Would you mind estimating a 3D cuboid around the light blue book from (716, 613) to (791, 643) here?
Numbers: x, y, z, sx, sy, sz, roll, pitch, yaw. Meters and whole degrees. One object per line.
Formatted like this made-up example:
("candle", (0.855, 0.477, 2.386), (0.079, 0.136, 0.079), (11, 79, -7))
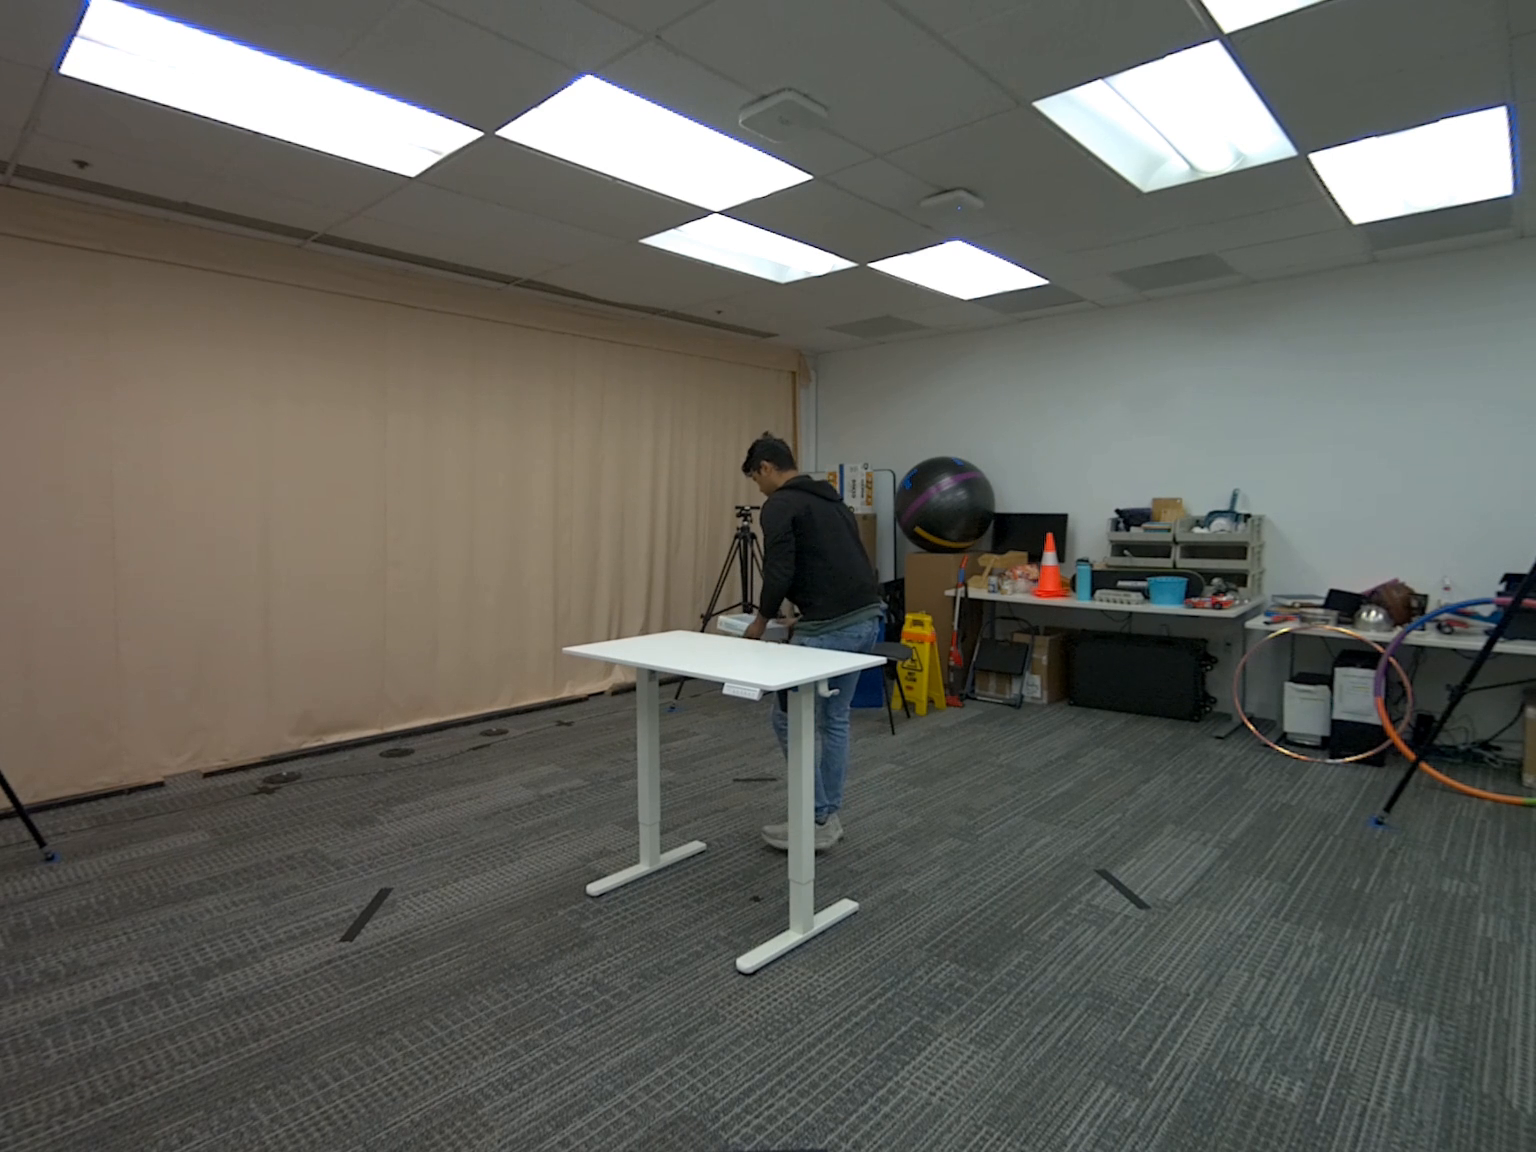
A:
("light blue book", (-0.062, 0.237, 3.691), (0.270, 0.059, 0.185), (13, 9, 43))
